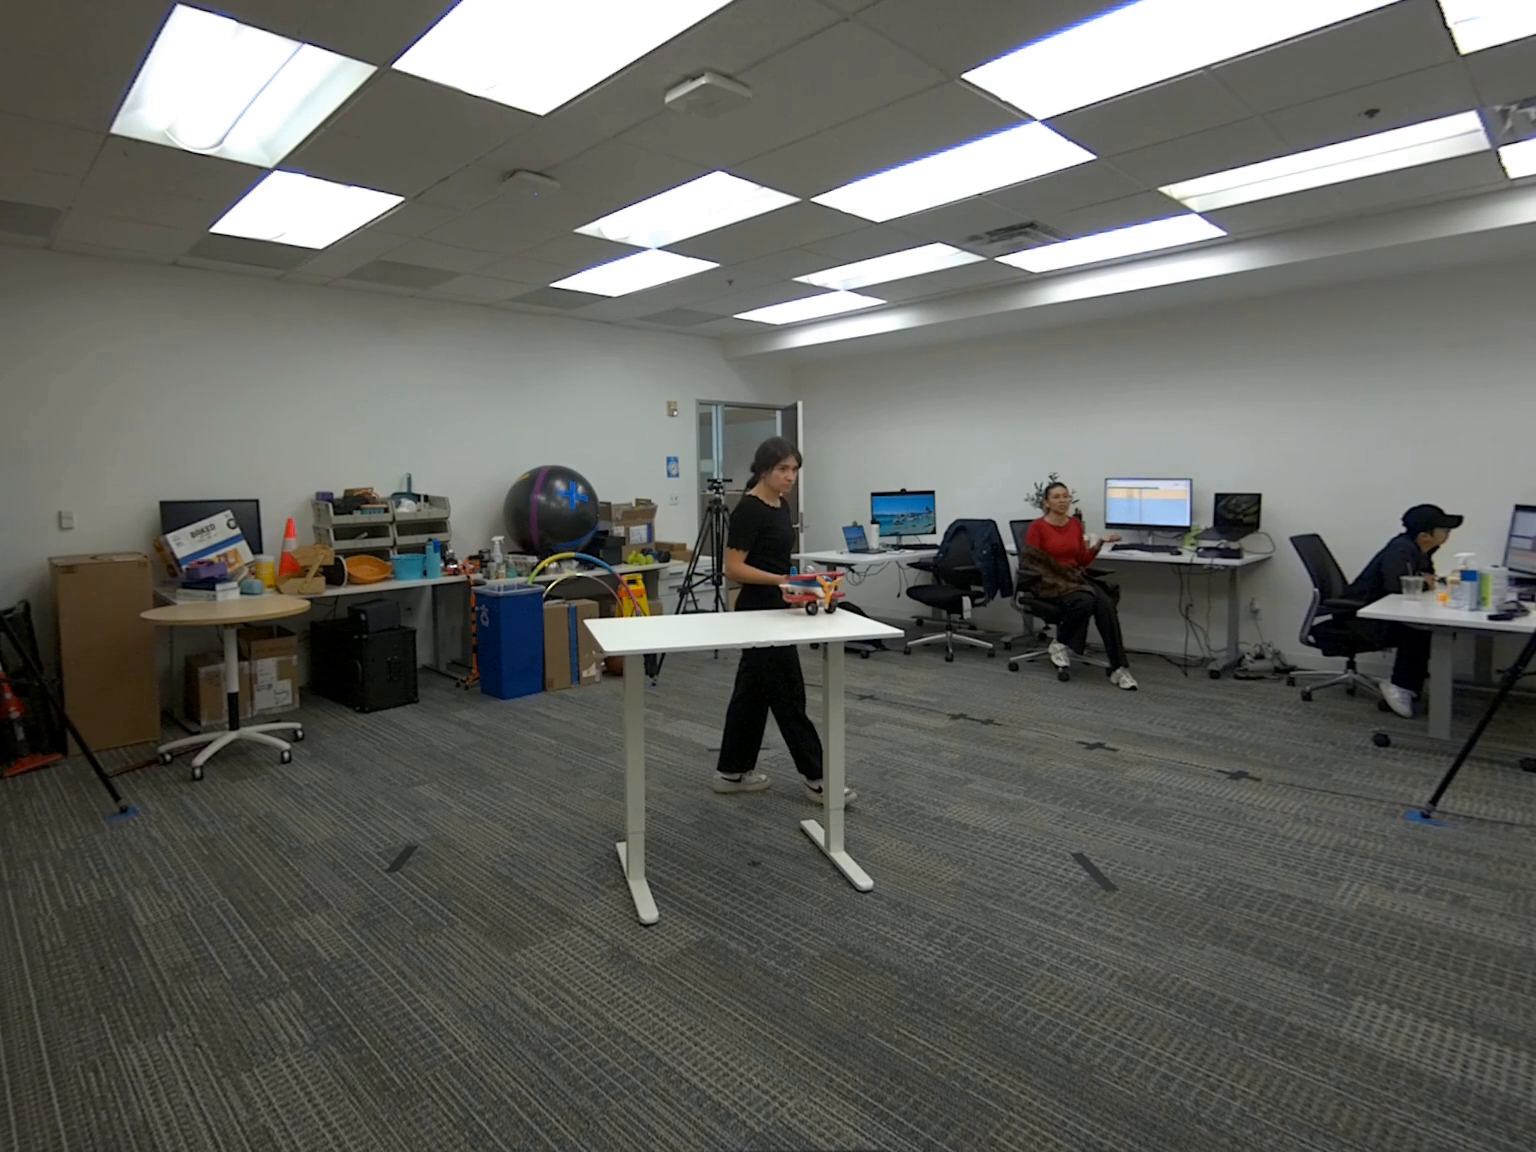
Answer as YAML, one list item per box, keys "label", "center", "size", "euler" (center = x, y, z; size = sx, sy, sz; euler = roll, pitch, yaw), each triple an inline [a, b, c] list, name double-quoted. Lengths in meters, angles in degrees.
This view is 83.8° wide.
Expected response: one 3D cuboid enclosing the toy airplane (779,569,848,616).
- label: "toy airplane"
  center: [0.148, 0.050, 3.282]
  size: [0.267, 0.155, 0.246]
  euler: [15, 17, 29]
